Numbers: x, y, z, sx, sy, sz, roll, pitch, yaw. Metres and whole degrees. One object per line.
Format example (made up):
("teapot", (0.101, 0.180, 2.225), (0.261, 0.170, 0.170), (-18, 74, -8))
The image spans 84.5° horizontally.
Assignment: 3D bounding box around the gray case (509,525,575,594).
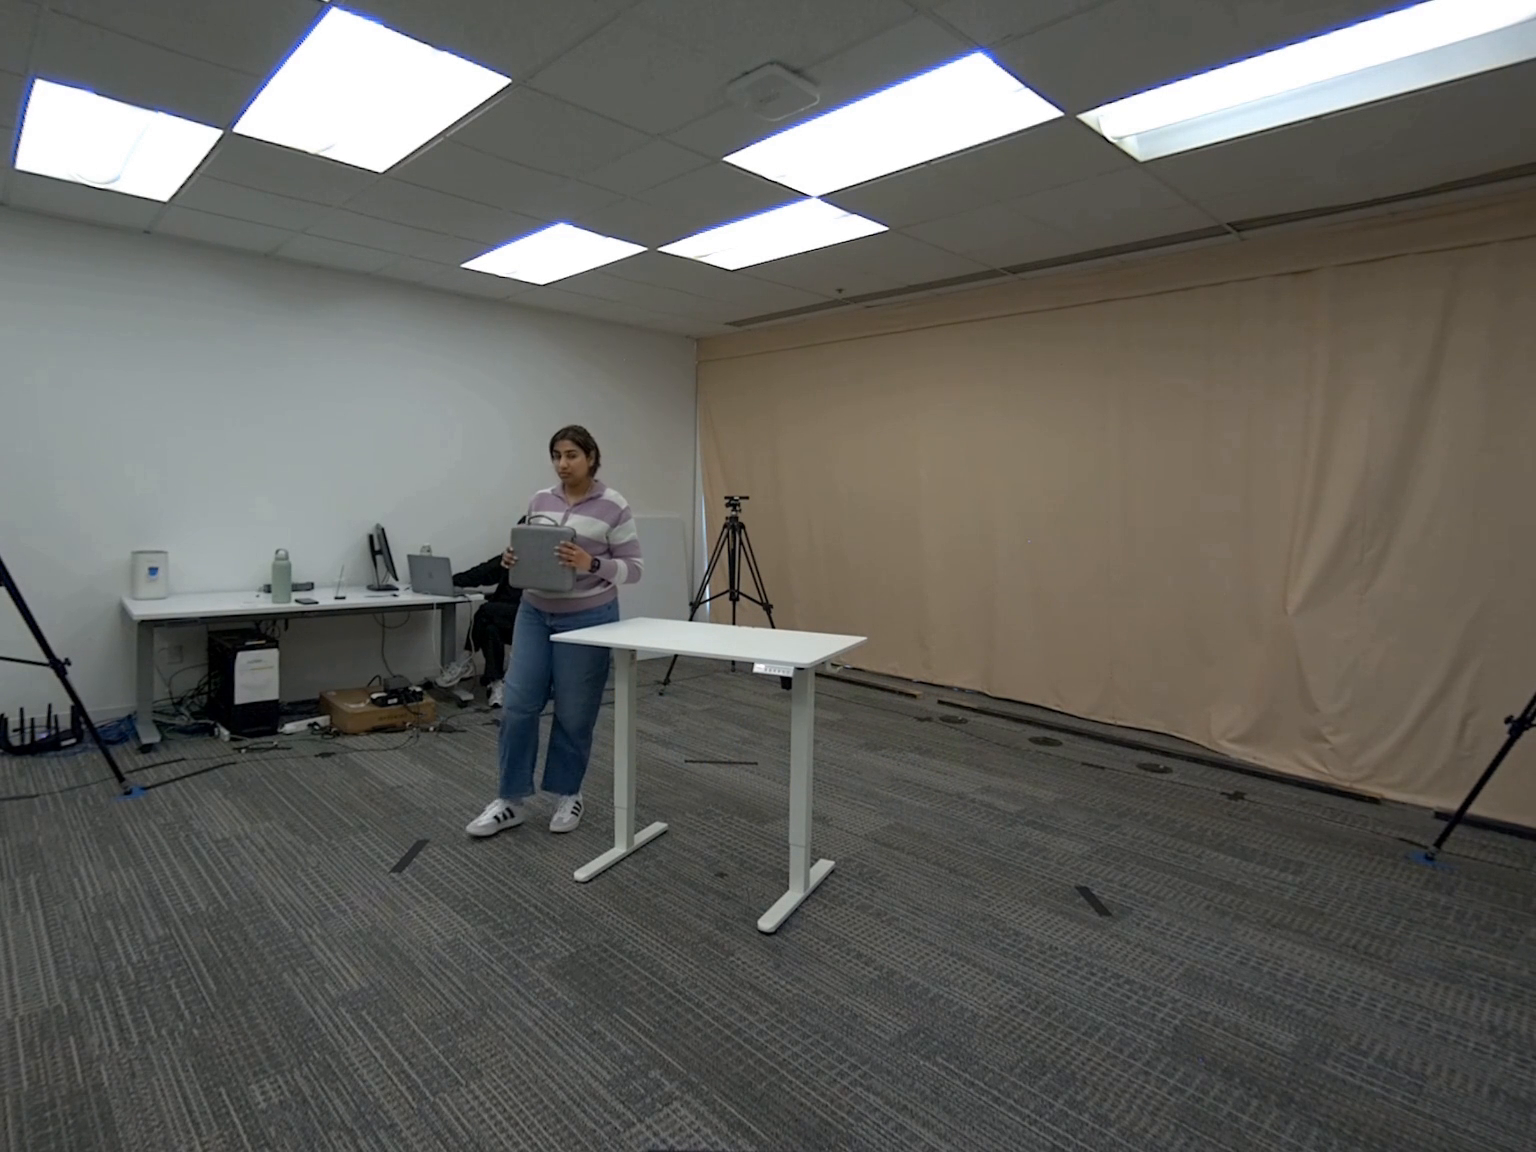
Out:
("gray case", (-0.907, -0.070, 3.289), (0.259, 0.259, 0.104), (2, 7, 9))
